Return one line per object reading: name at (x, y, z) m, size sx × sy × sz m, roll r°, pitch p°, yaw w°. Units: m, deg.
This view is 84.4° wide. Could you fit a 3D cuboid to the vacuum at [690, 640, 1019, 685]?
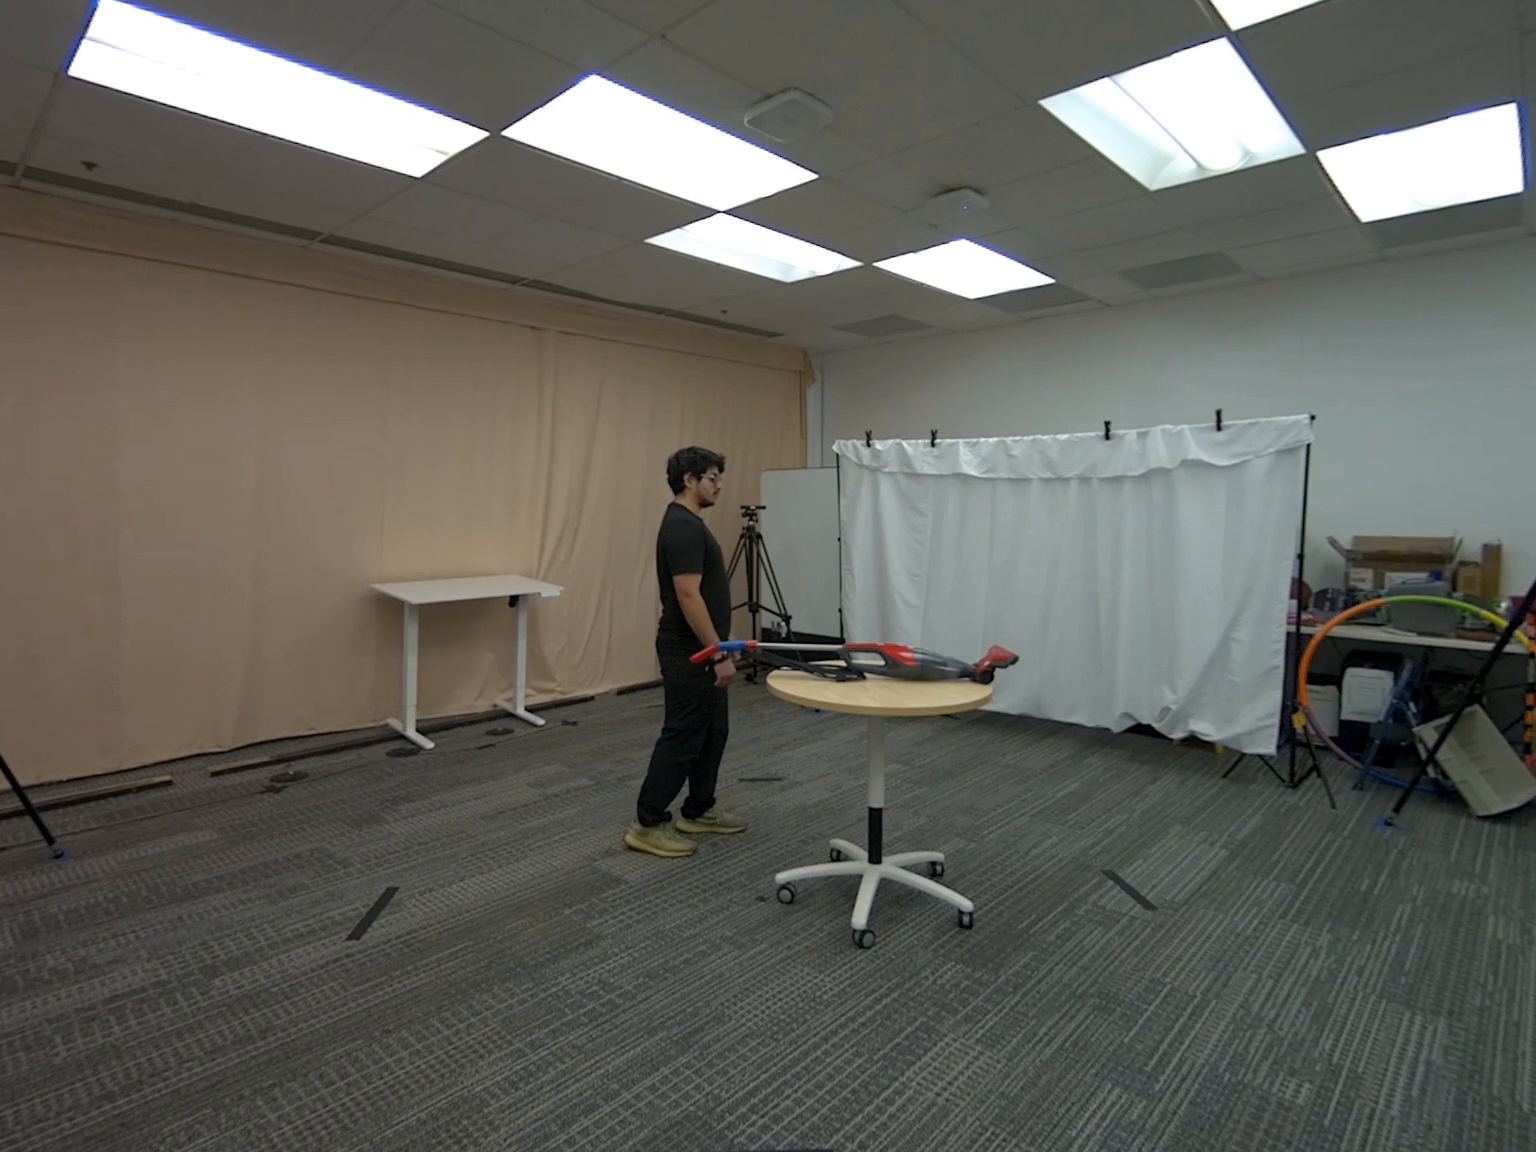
vacuum at (0.272, 0.301, 2.953) m, size 1.054 × 0.143 × 0.252 m, roll 2°, pitch 7°, yaw 4°
